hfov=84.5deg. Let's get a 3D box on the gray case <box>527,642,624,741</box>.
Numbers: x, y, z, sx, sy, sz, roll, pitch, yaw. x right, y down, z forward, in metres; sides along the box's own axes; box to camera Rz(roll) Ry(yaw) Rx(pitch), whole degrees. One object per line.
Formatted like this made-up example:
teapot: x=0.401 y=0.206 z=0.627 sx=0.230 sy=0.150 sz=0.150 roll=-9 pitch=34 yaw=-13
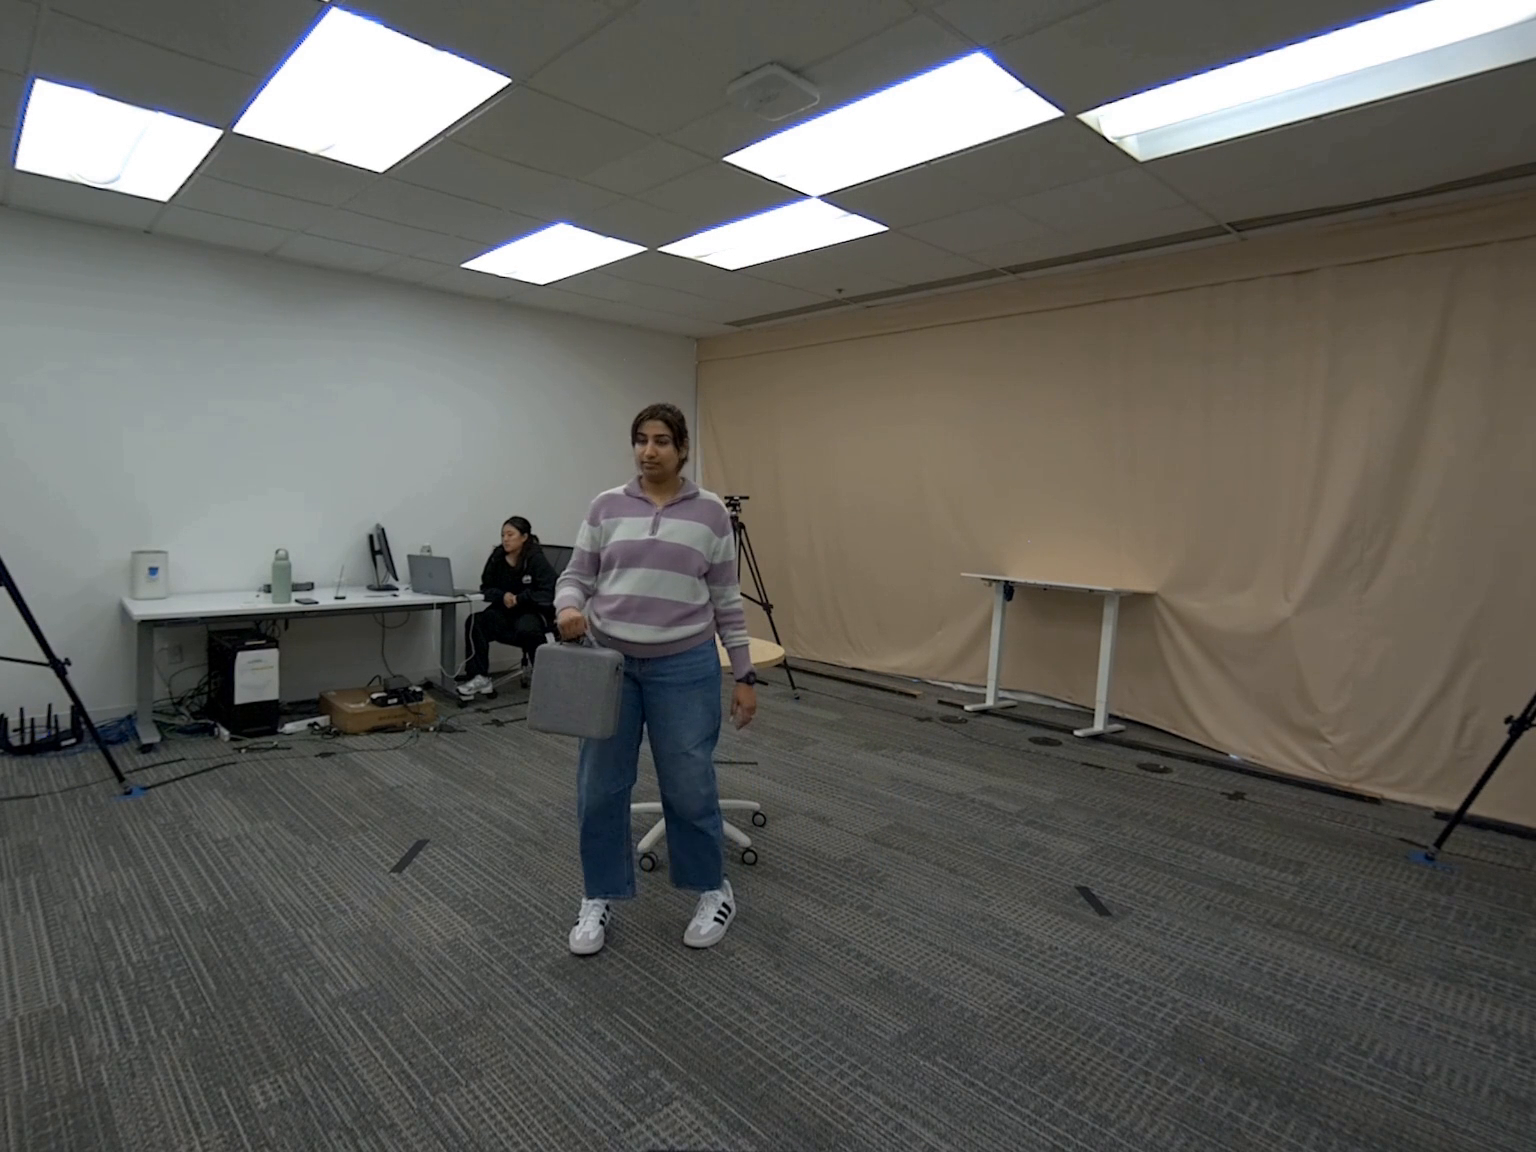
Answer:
gray case: x=-0.551 y=0.324 z=2.400 sx=0.261 sy=0.261 sz=0.102 roll=2 pitch=-4 yaw=18
